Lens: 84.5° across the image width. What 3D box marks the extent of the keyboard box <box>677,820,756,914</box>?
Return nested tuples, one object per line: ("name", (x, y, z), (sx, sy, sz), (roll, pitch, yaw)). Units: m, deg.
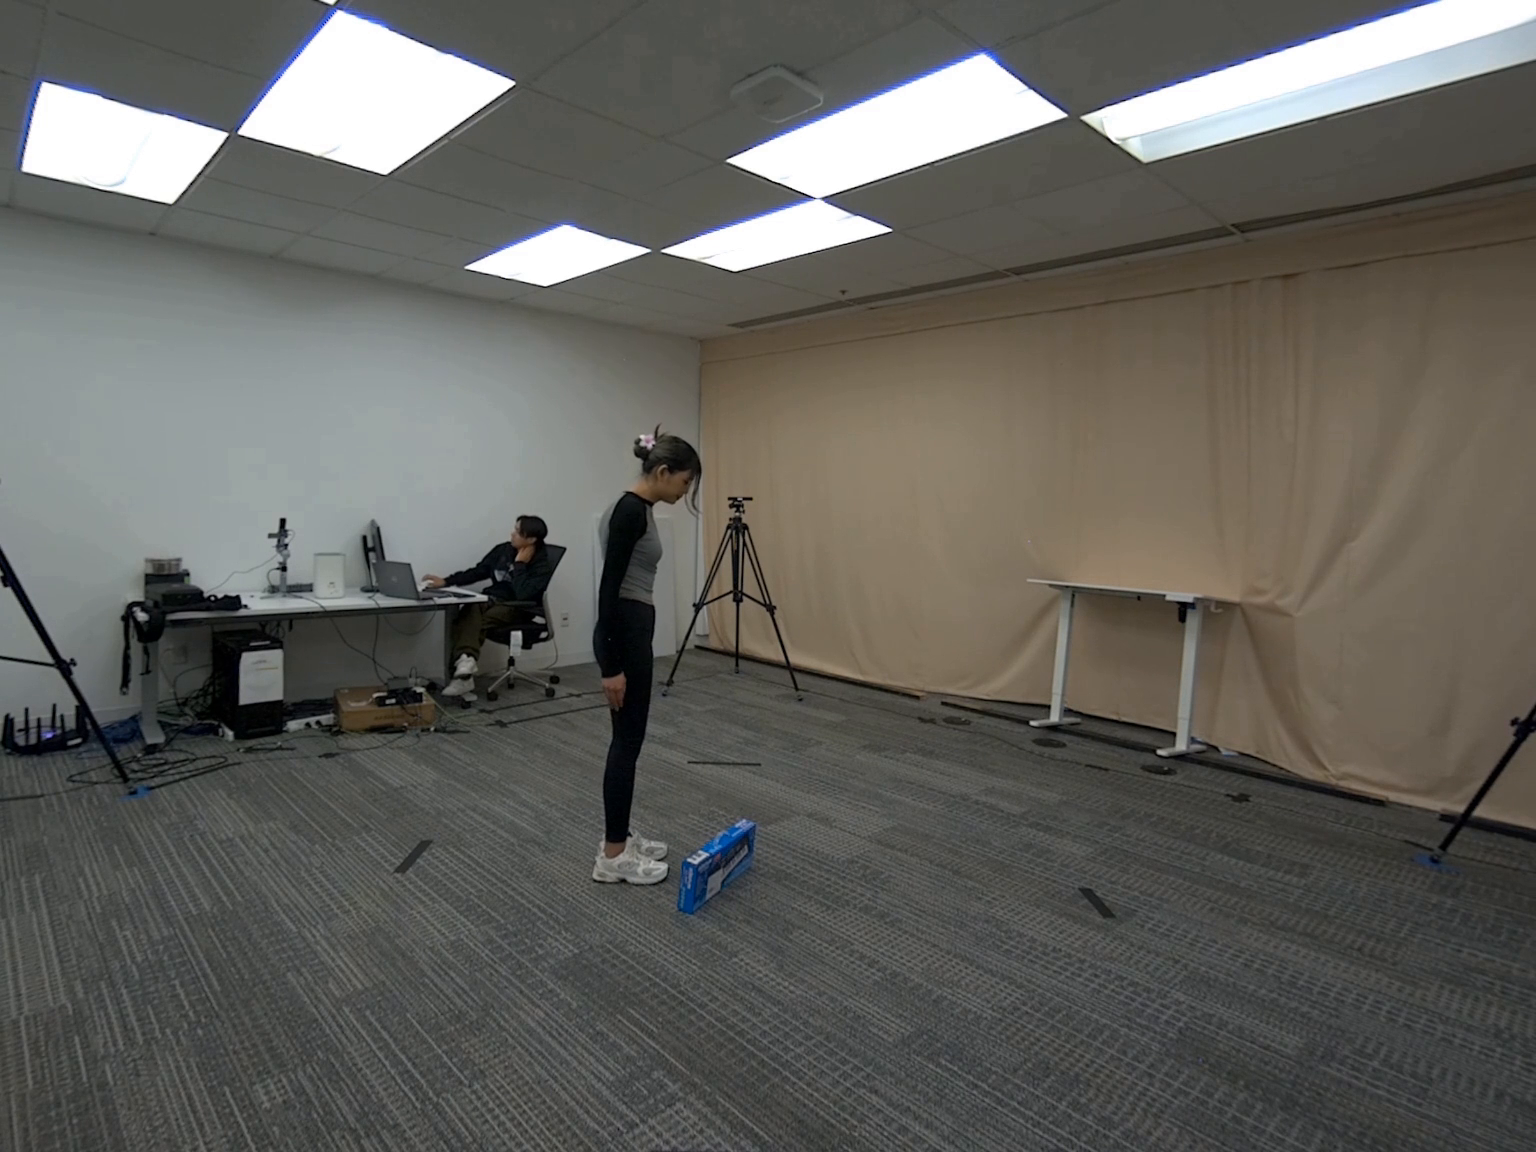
("keyboard box", (-0.180, 1.029, 3.002), (0.060, 0.175, 0.429), (9, 8, 25))
